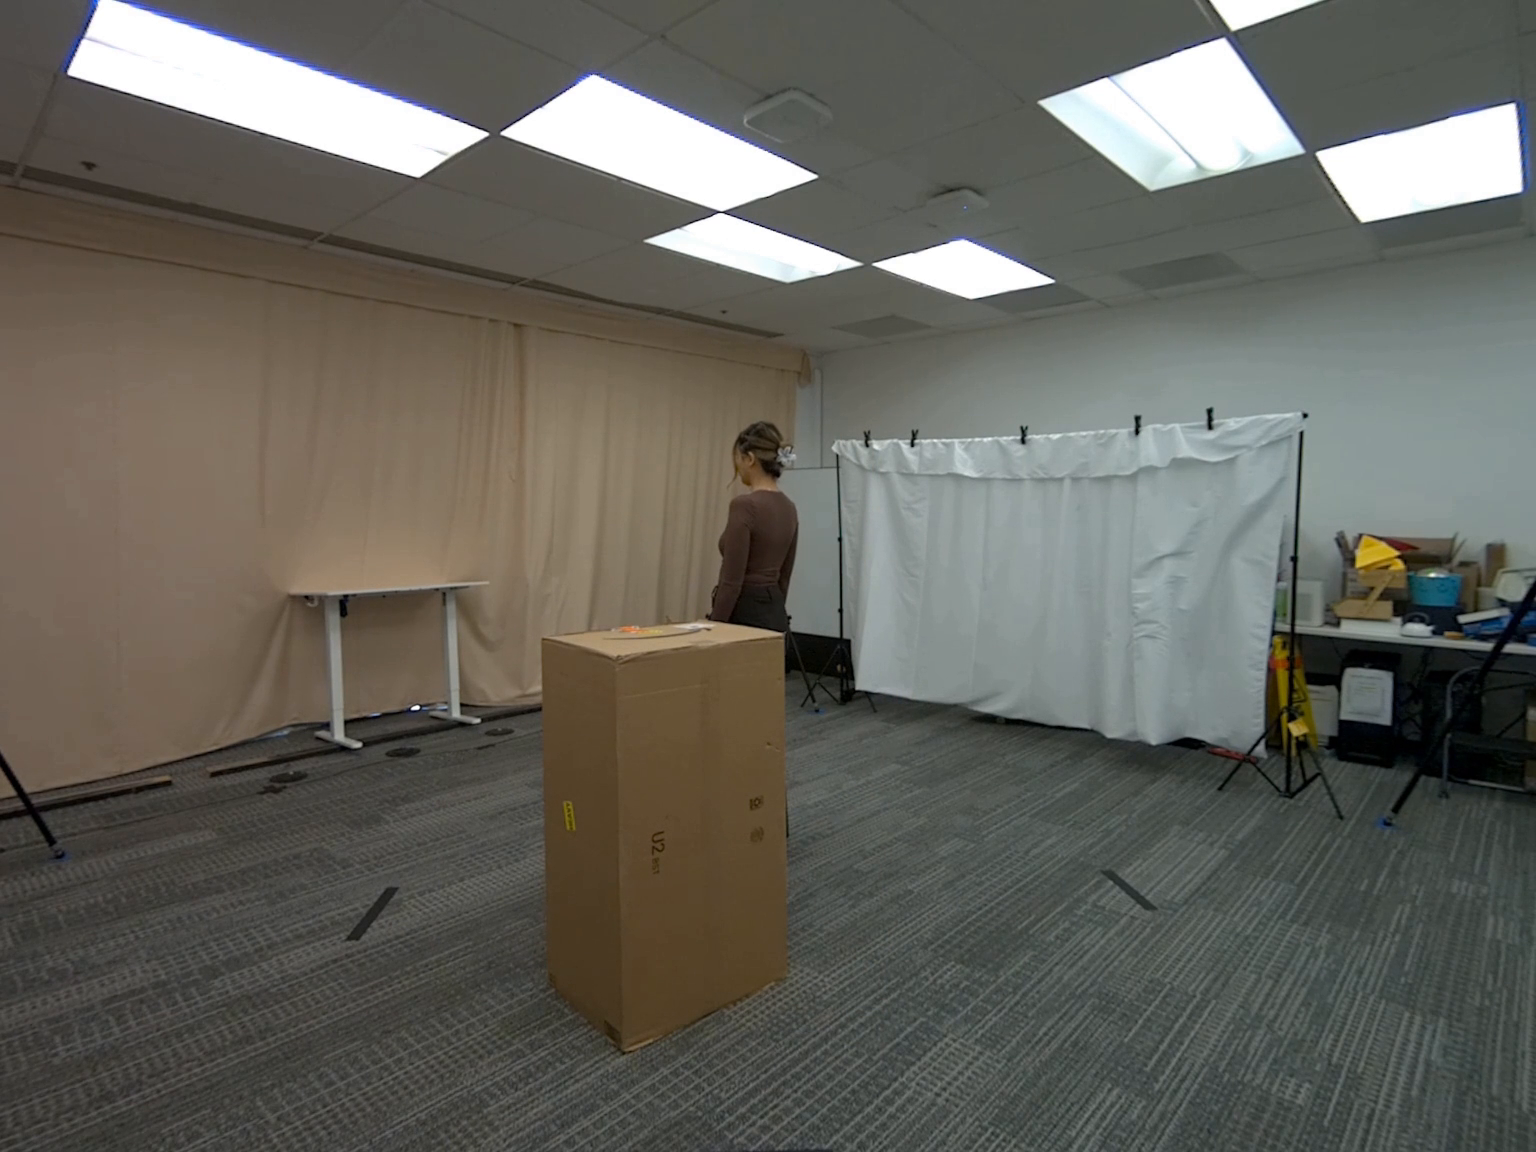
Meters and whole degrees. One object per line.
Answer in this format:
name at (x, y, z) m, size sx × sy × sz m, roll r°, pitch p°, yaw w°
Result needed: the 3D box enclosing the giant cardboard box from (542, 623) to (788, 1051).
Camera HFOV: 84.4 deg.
giant cardboard box at (-0.301, 0.682, 2.451) m, size 0.566 × 1.025 × 0.461 m, roll -2°, pitch 3°, yaw -38°
